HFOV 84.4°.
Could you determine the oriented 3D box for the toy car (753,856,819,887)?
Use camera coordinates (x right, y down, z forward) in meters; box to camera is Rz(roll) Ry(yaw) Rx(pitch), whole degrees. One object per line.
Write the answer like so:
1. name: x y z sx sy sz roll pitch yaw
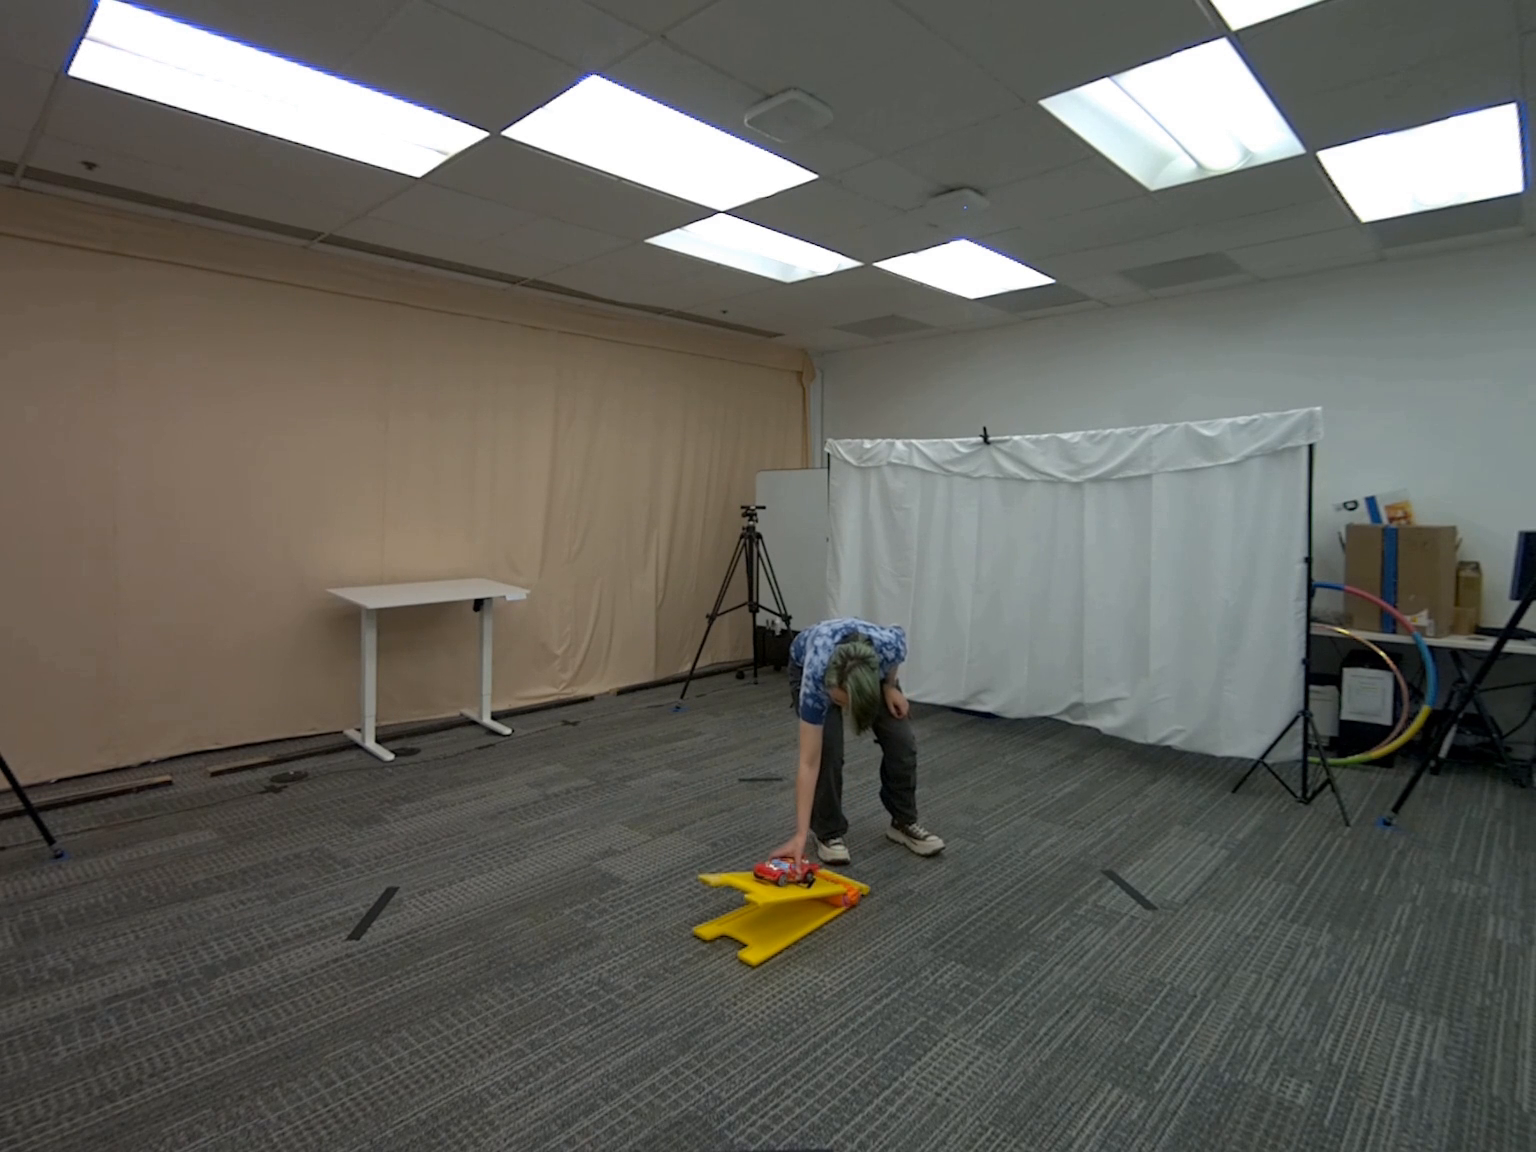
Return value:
1. toy car: 0.075 0.999 2.831 0.134 0.083 0.246 1 0 43
